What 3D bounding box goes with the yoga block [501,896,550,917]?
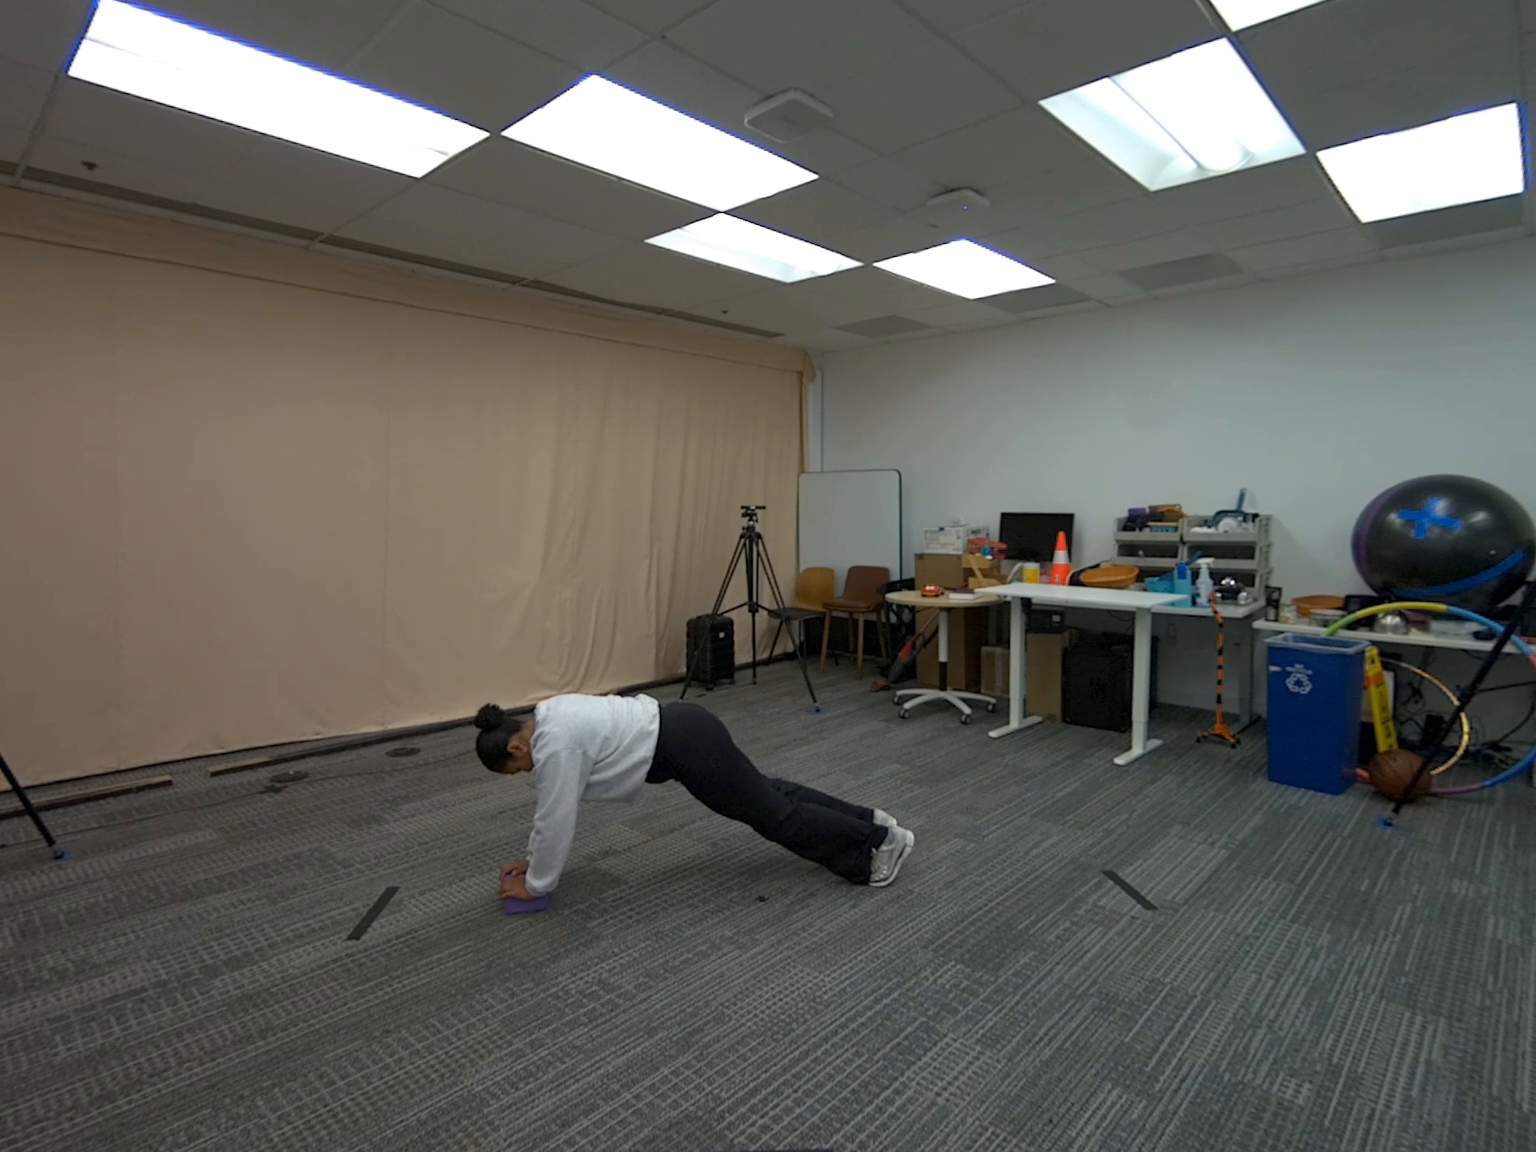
[{"bbox_3d":[-0.867,1.123,2.998,0.147,0.076,0.233,-2,5,-15],"label":"yoga block"}]
